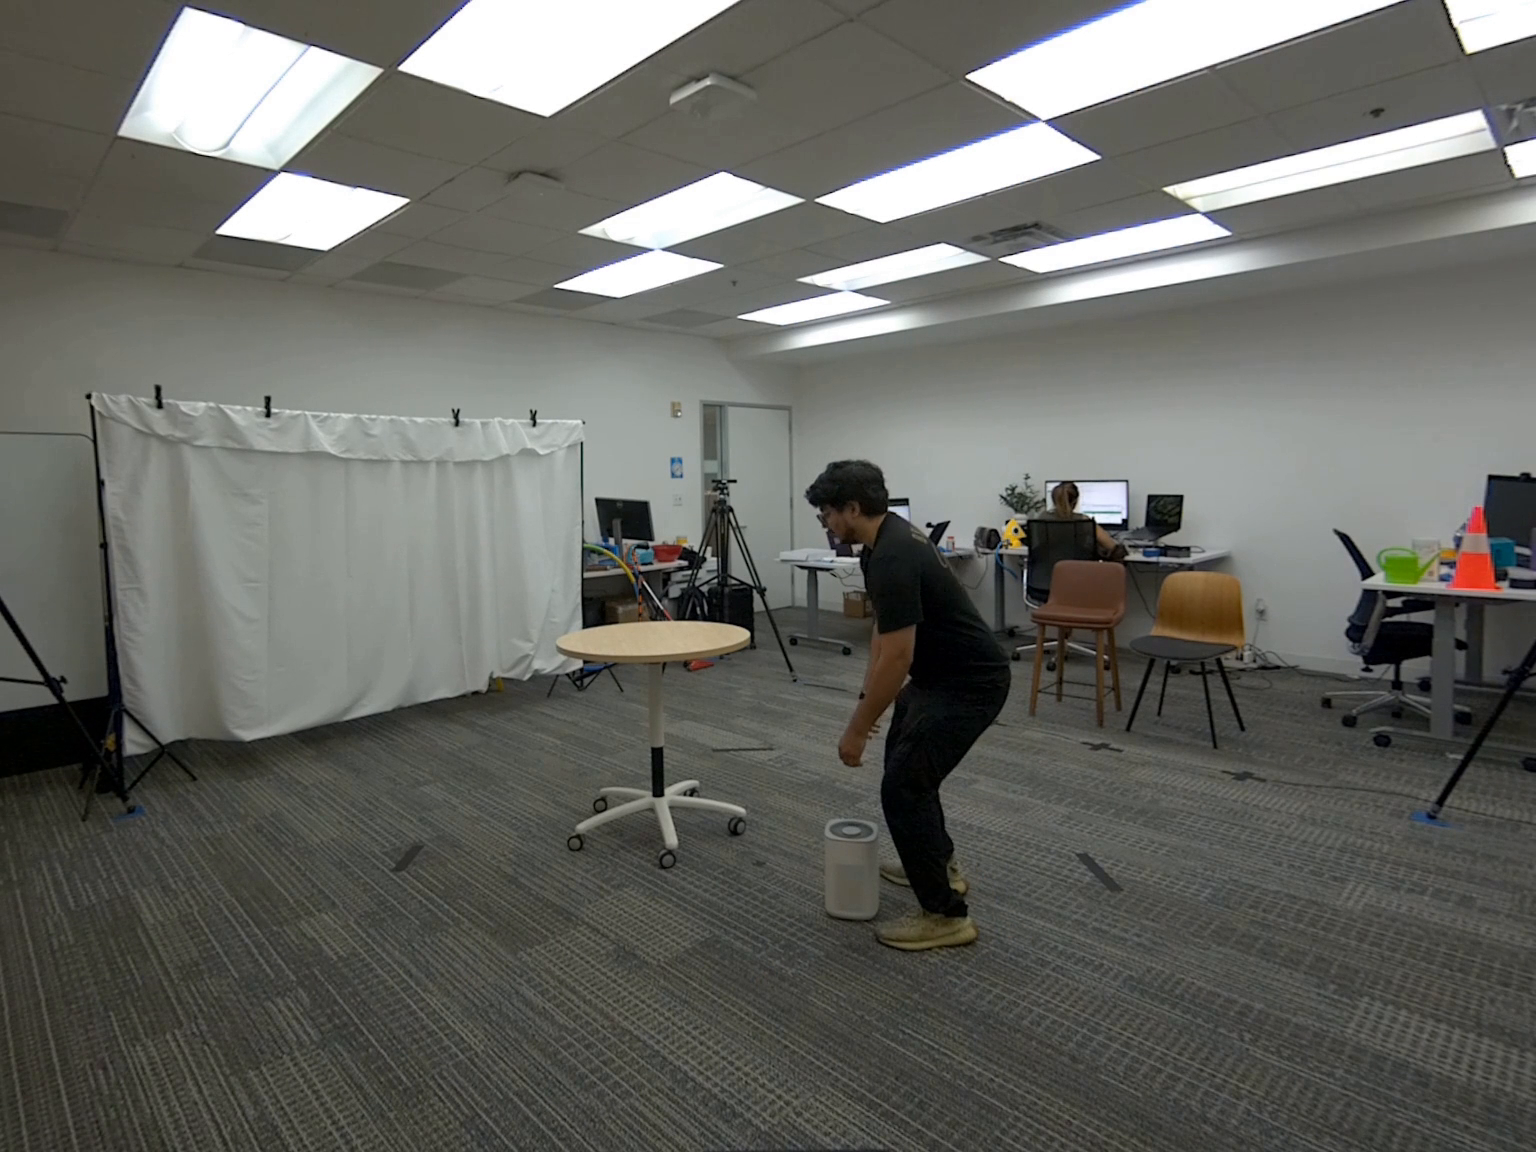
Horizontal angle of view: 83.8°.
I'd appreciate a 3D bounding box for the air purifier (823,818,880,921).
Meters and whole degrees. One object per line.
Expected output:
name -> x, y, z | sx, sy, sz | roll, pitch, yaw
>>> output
air purifier -> 0.278, 0.947, 2.758 | 0.176, 0.261, 0.166 | 0, 5, 16
